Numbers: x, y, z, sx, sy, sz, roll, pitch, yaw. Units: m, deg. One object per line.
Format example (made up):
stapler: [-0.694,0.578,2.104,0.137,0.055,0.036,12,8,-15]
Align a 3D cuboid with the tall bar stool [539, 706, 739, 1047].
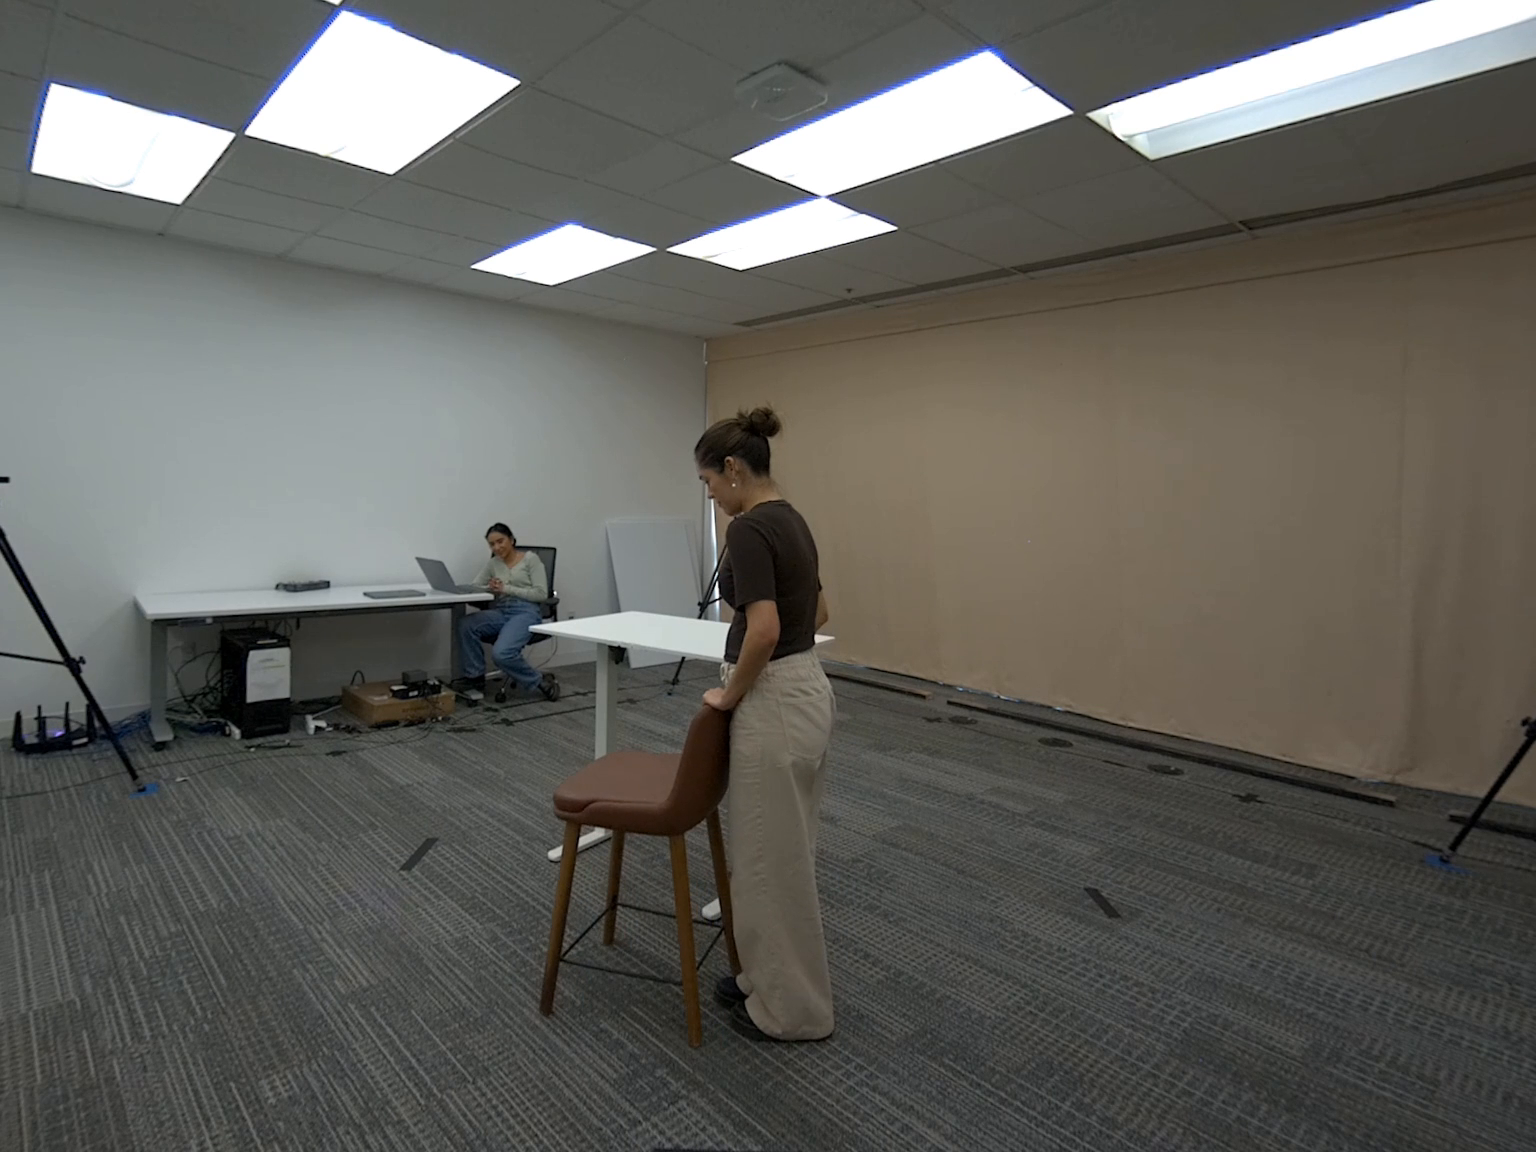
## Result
tall bar stool: [-0.325,0.734,2.337,0.475,0.887,0.451,5,5,17]
